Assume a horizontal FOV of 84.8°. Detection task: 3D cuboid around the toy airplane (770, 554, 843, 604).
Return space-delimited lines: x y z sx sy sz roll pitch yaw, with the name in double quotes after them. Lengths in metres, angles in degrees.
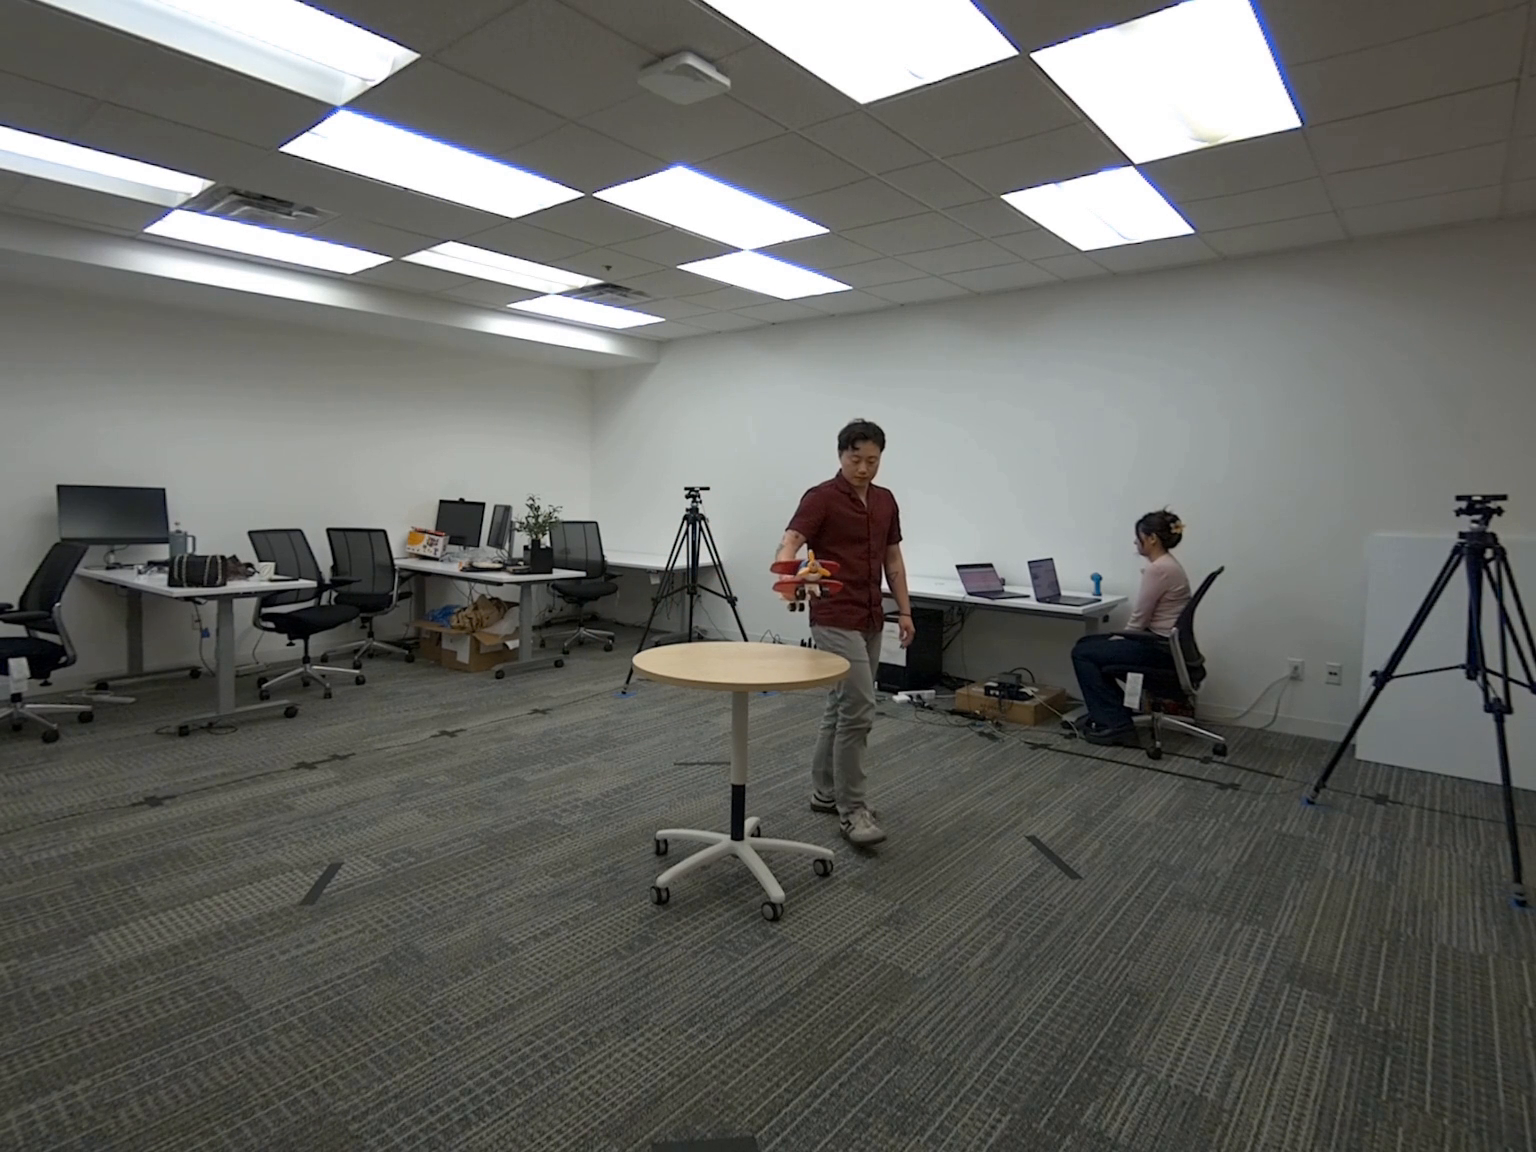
0.098 0.030 3.084 0.242 0.159 0.264 12 -21 -39 "toy airplane"
